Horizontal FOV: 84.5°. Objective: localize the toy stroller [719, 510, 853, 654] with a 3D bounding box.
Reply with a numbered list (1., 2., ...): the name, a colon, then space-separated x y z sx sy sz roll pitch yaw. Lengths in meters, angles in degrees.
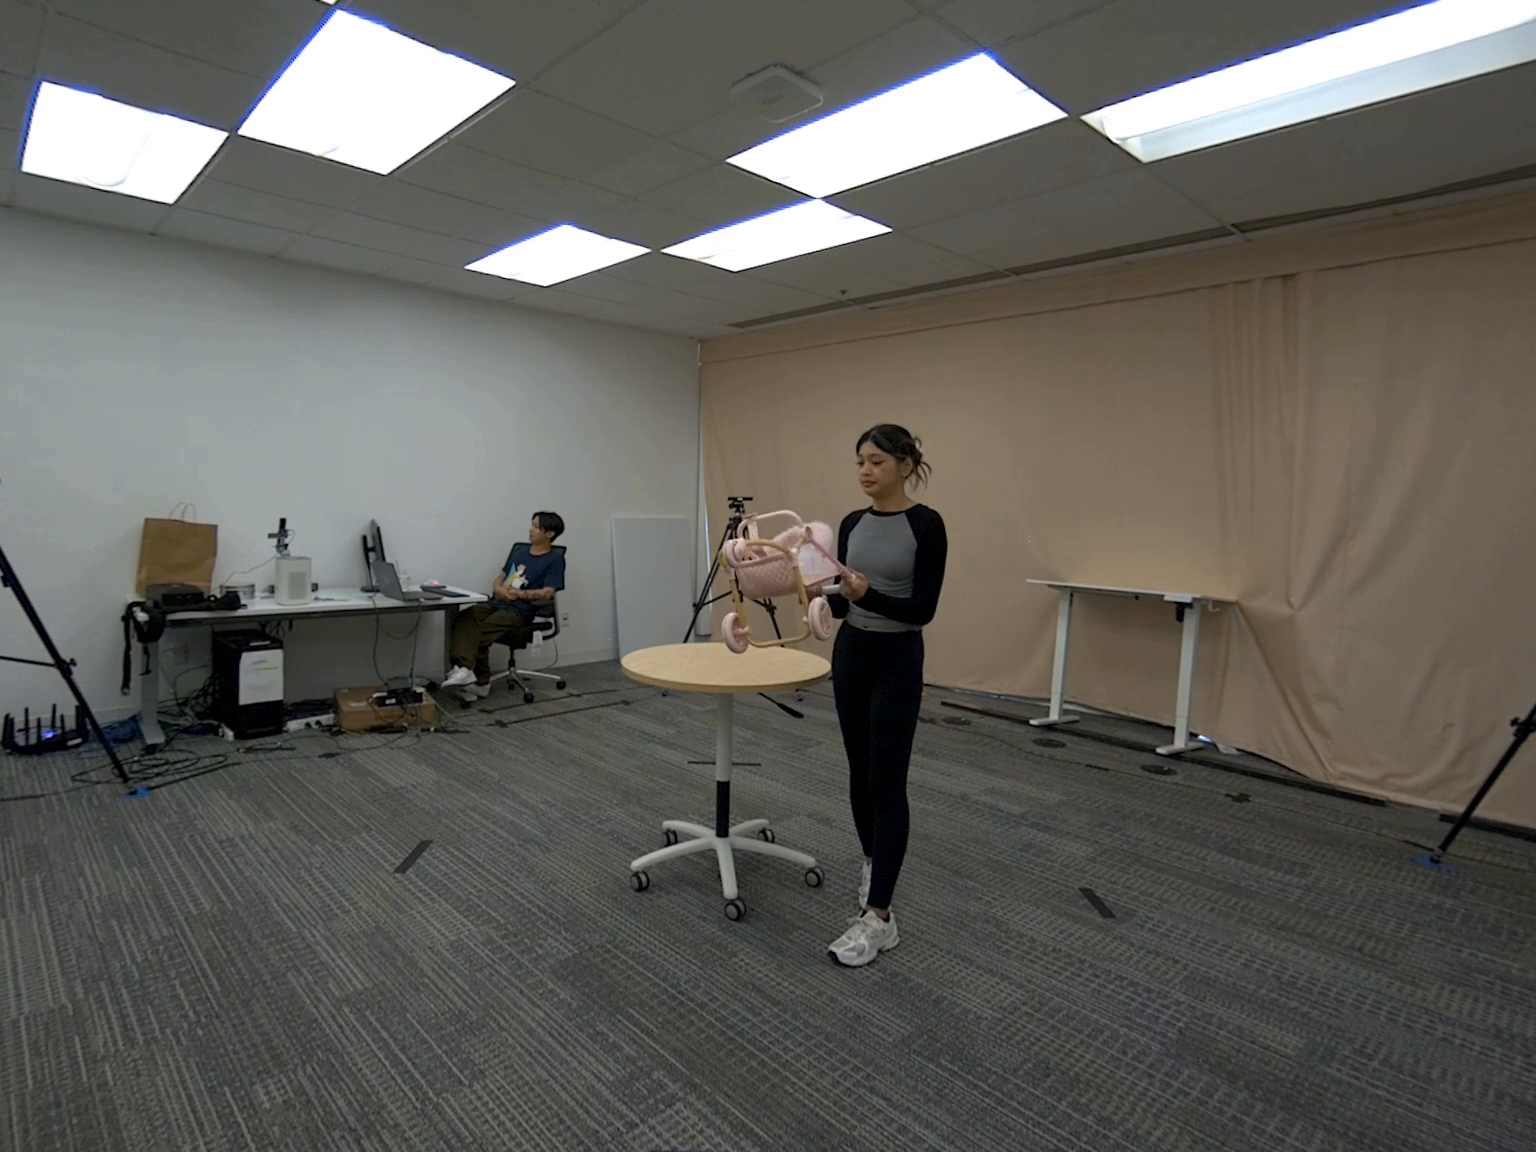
1. toy stroller: 0.040 -0.014 2.275 0.285 0.338 0.533 -17 13 30
